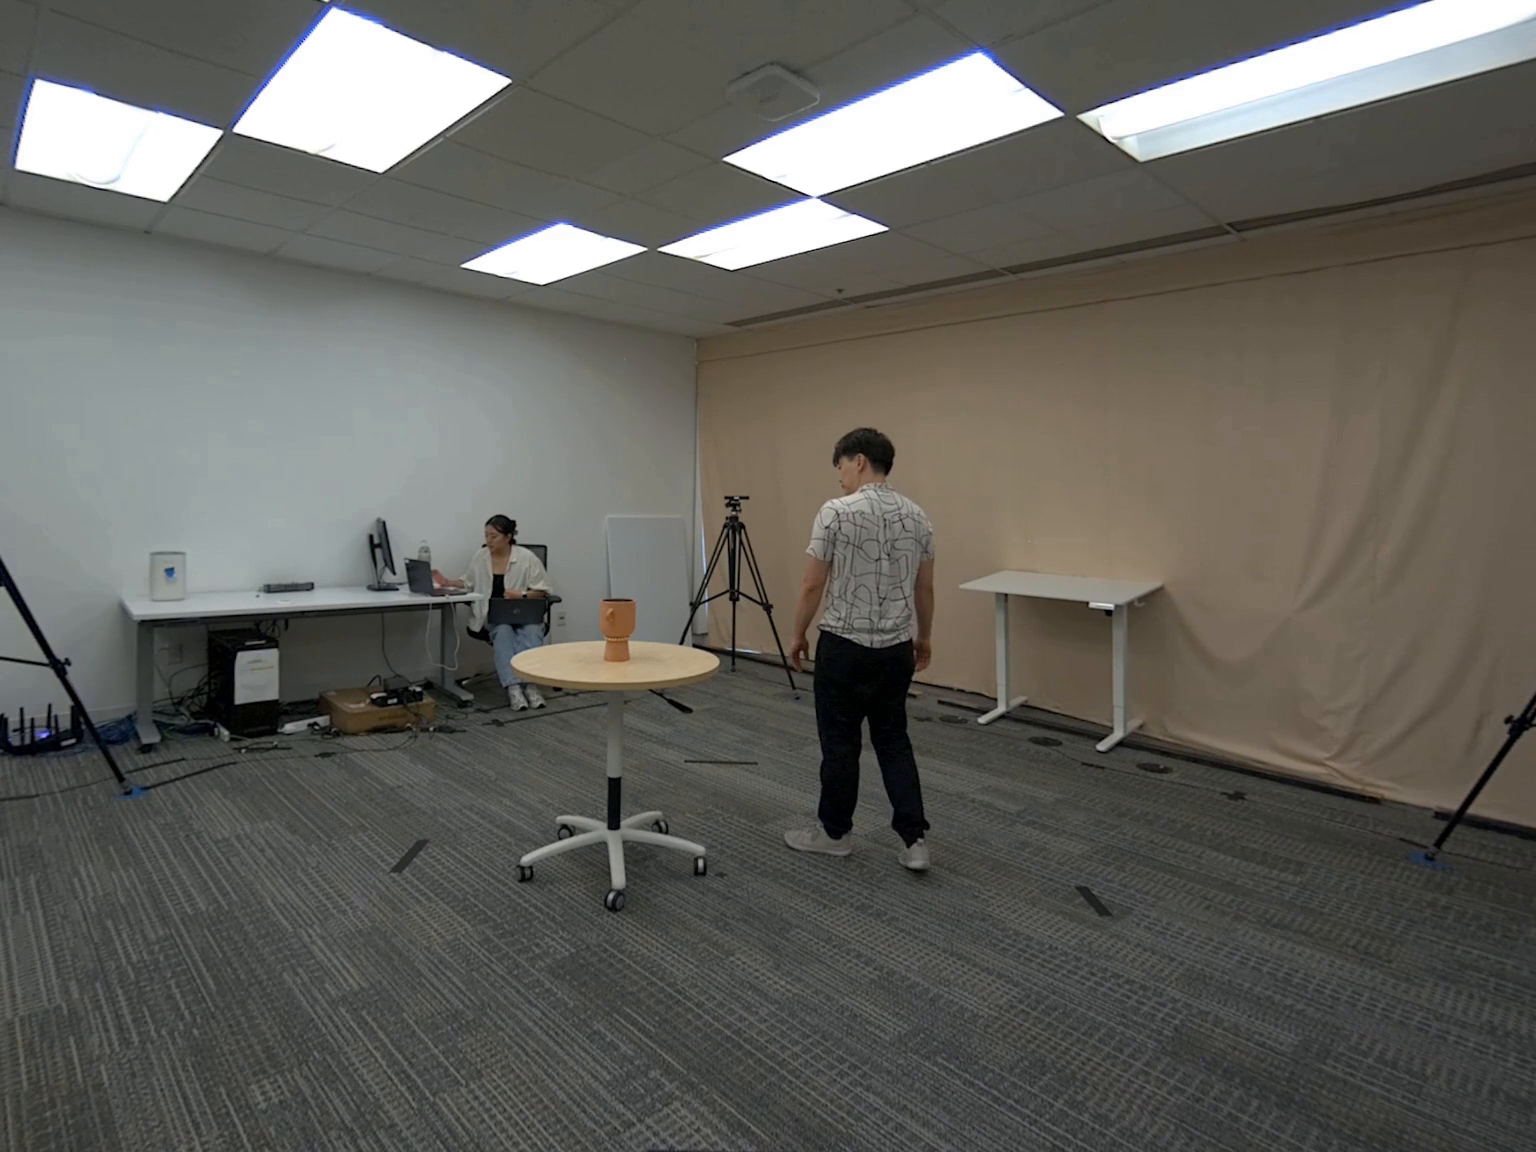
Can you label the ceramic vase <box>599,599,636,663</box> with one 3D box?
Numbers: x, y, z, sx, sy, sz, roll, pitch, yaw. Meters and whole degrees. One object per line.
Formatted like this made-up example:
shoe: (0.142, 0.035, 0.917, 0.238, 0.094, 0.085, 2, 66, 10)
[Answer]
ceramic vase: (-0.563, 0.202, 3.119, 0.155, 0.219, 0.138, -1, 6, -38)
